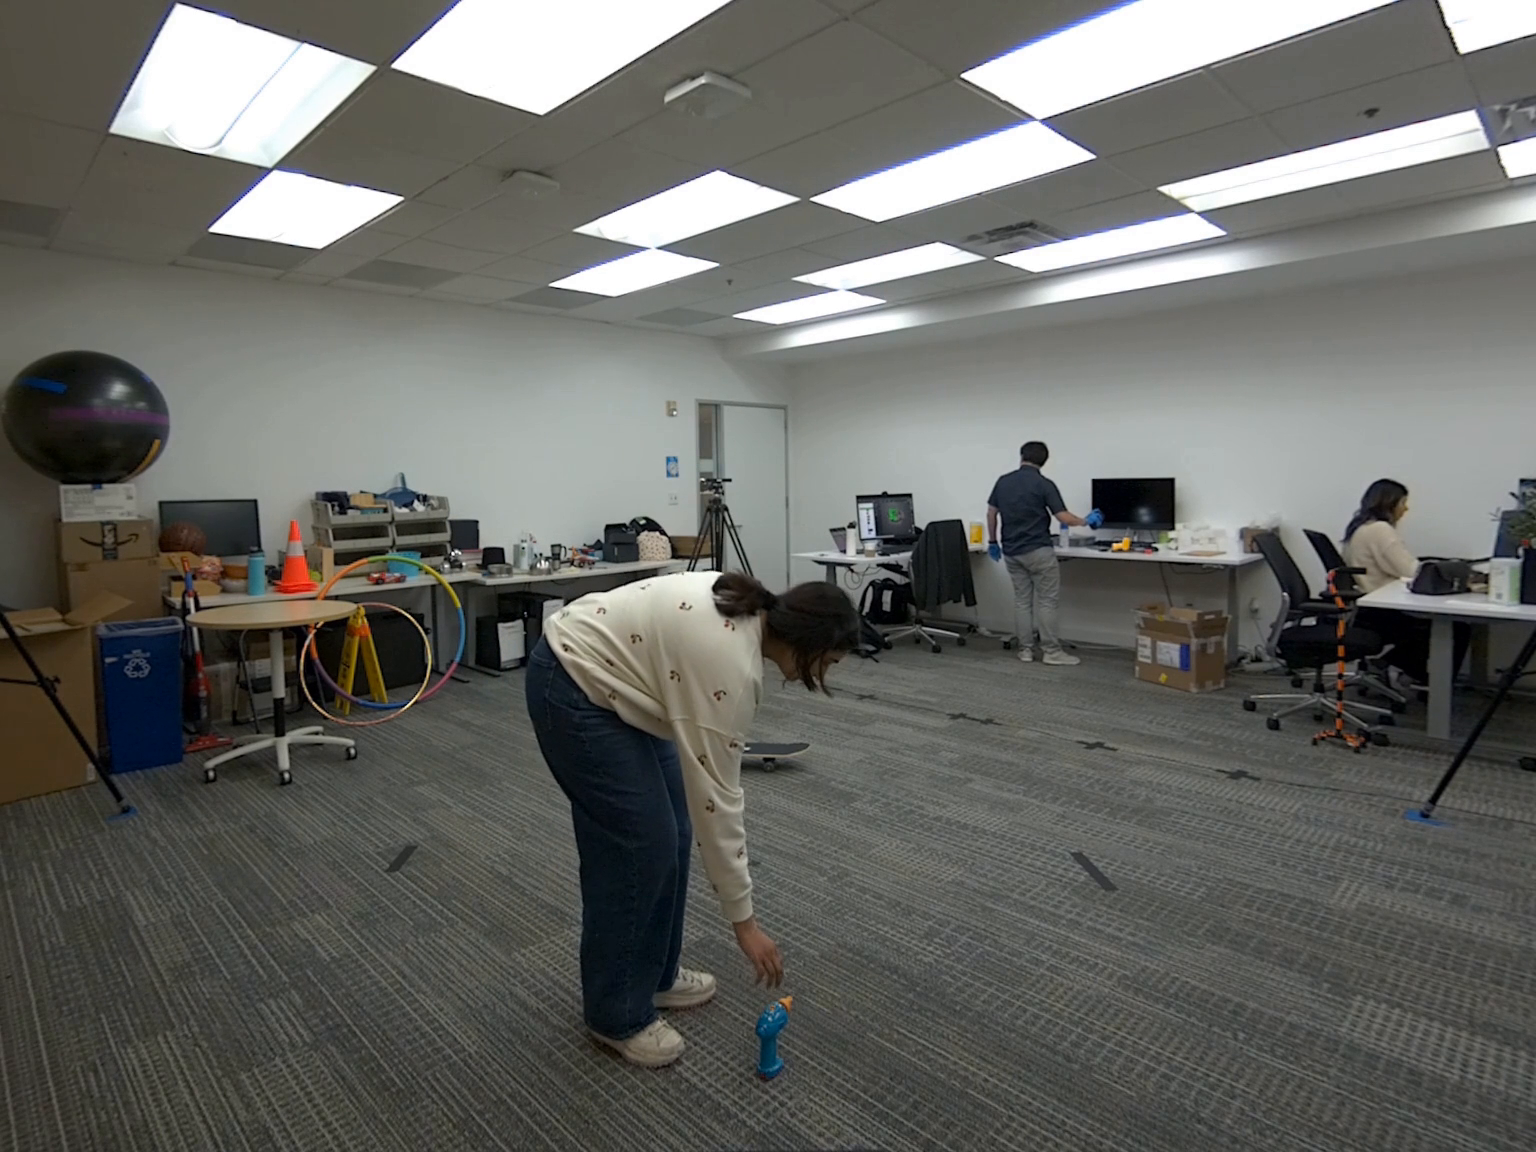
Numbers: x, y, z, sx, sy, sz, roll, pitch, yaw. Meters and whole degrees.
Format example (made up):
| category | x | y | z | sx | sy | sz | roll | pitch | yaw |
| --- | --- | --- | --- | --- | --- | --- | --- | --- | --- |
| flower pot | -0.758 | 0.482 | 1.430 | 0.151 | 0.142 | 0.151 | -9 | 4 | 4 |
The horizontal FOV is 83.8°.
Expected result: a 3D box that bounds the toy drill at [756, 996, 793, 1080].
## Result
| category | x | y | z | sx | sy | sz | roll | pitch | yaw |
| --- | --- | --- | --- | --- | --- | --- | --- | --- | --- |
| toy drill | 0.020 | 1.090 | 2.051 | 0.062 | 0.145 | 0.166 | 0 | 4 | 26 |
